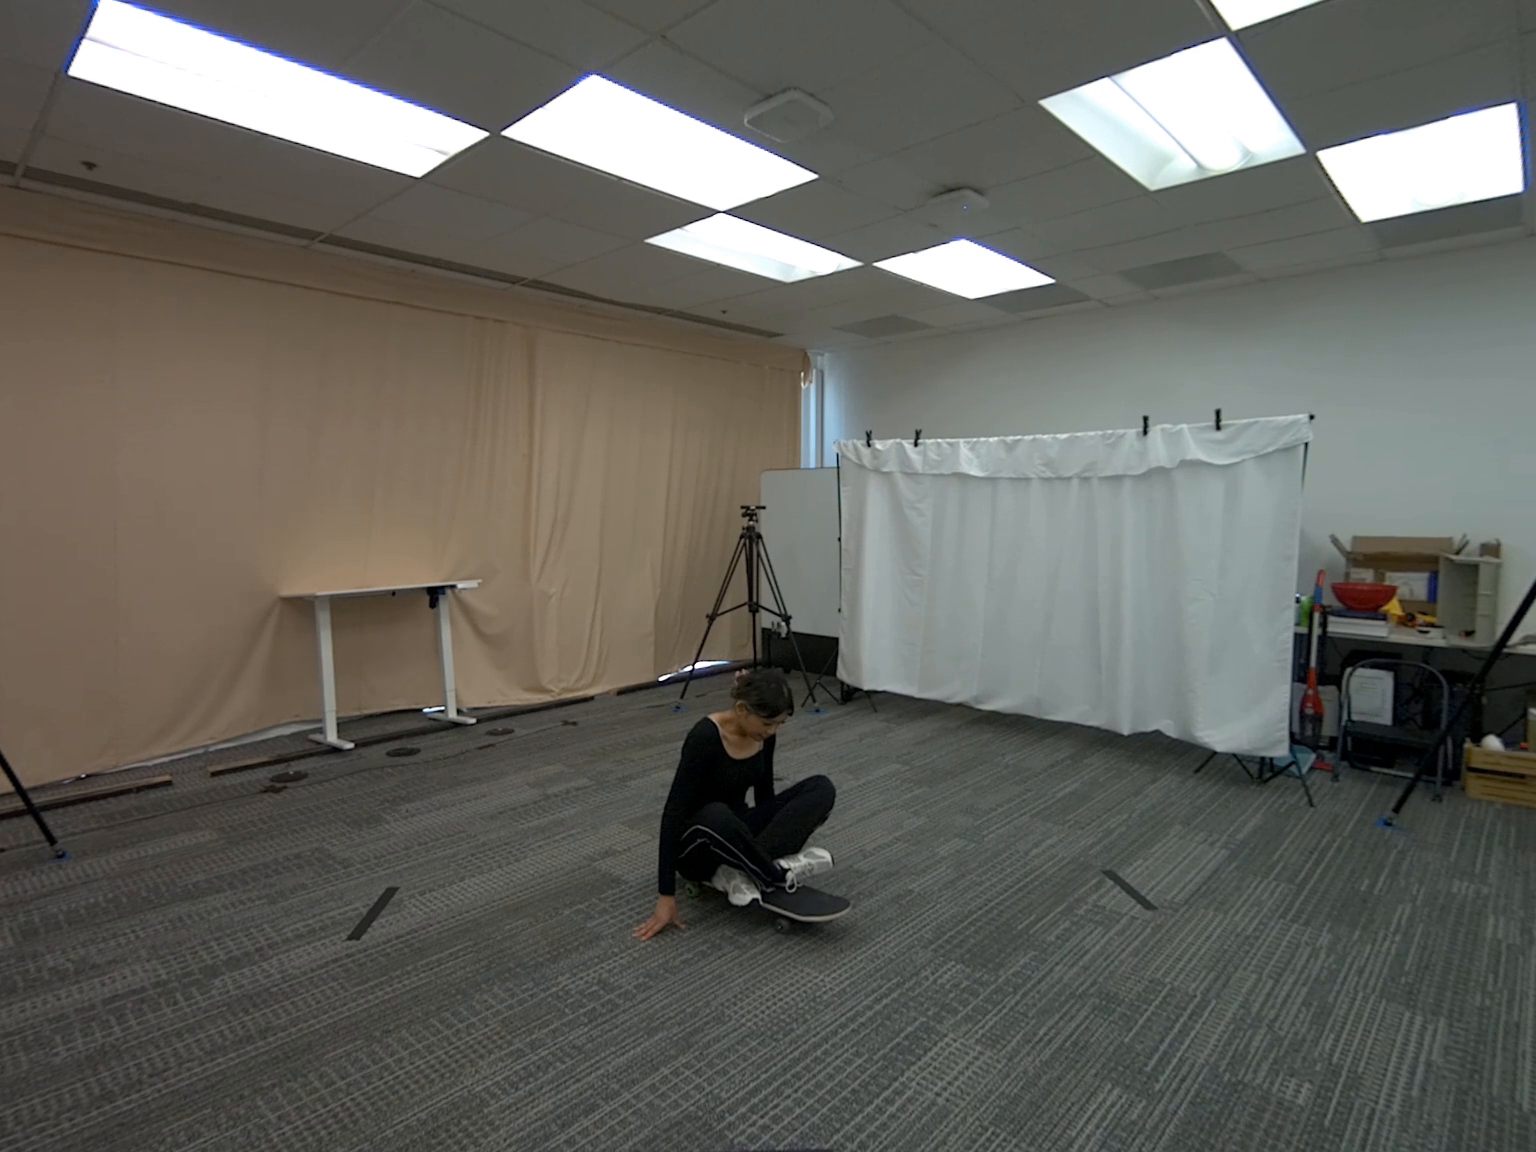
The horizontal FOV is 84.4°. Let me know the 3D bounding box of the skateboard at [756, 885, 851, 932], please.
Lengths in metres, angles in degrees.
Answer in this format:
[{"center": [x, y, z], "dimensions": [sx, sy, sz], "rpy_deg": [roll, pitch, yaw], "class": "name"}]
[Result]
[{"center": [-0.052, 1.087, 2.928], "dimensions": [0.811, 0.110, 0.188], "rpy_deg": [1, 5, 39], "class": "skateboard"}]
